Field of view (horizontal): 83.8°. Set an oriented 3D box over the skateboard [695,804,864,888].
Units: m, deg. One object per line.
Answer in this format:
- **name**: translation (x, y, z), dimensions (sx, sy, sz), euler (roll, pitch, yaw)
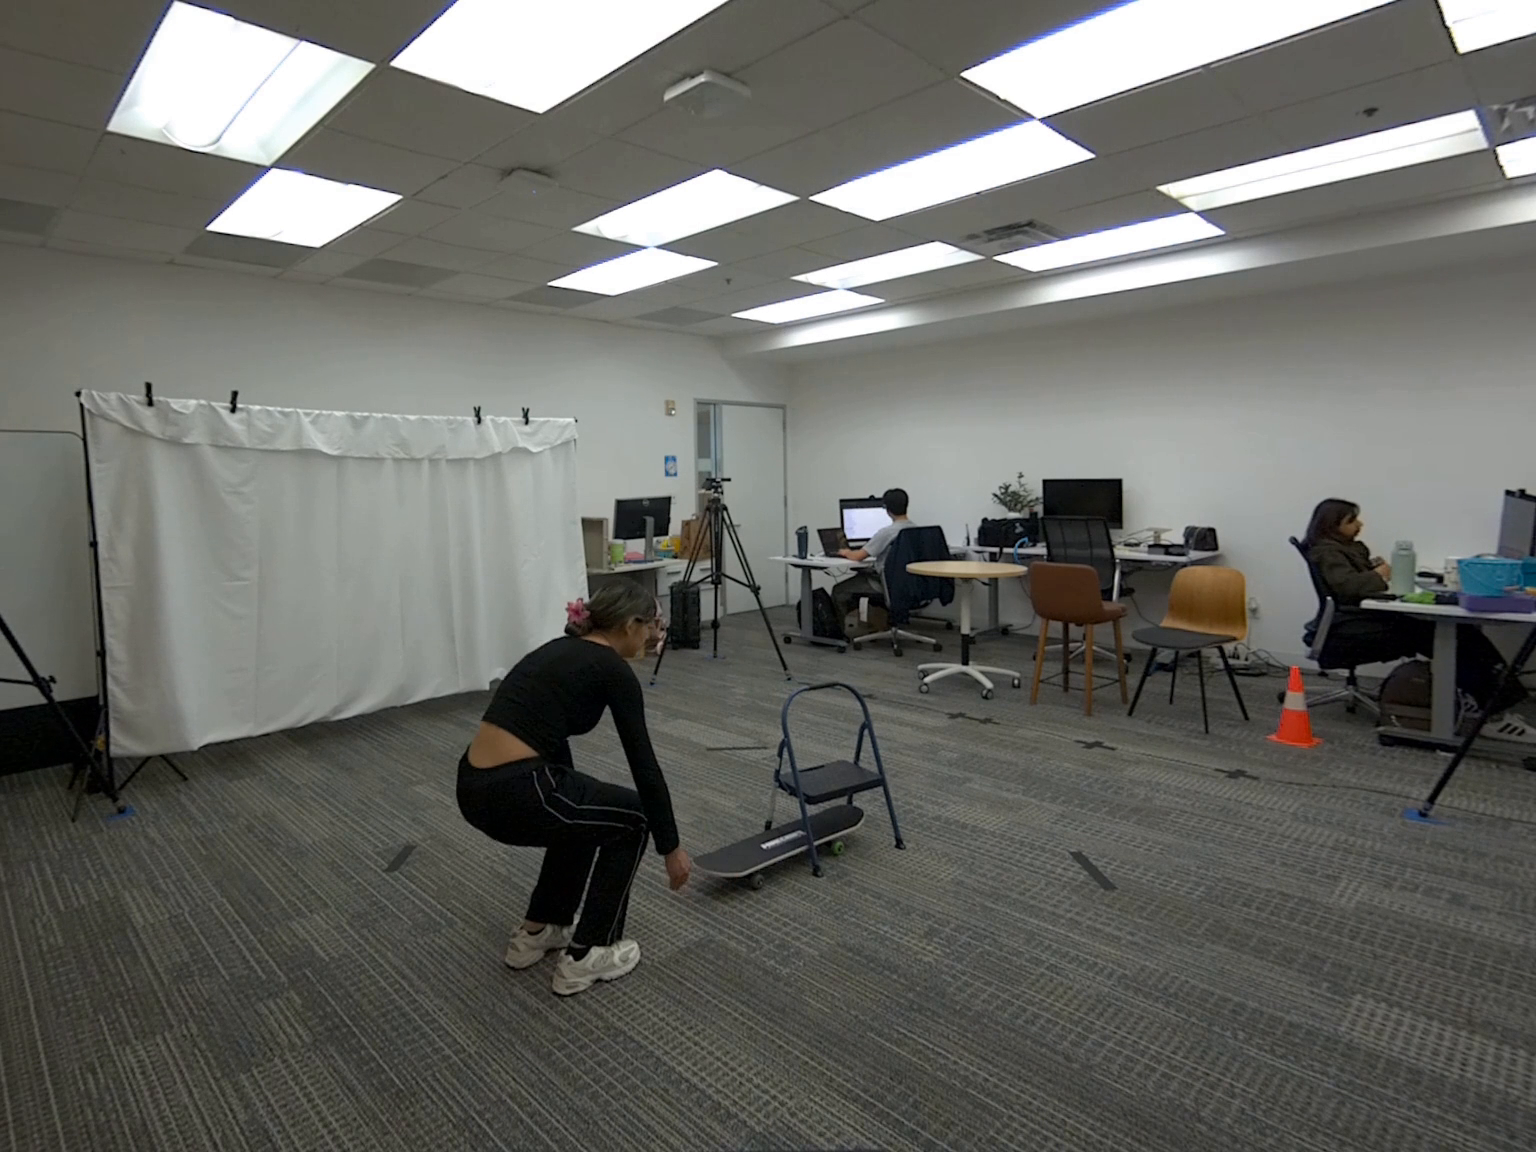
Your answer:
- **skateboard**: translation (0.058, 0.979, 3.094), dimensions (0.765, 0.110, 0.199), euler (-7, 7, -40)
